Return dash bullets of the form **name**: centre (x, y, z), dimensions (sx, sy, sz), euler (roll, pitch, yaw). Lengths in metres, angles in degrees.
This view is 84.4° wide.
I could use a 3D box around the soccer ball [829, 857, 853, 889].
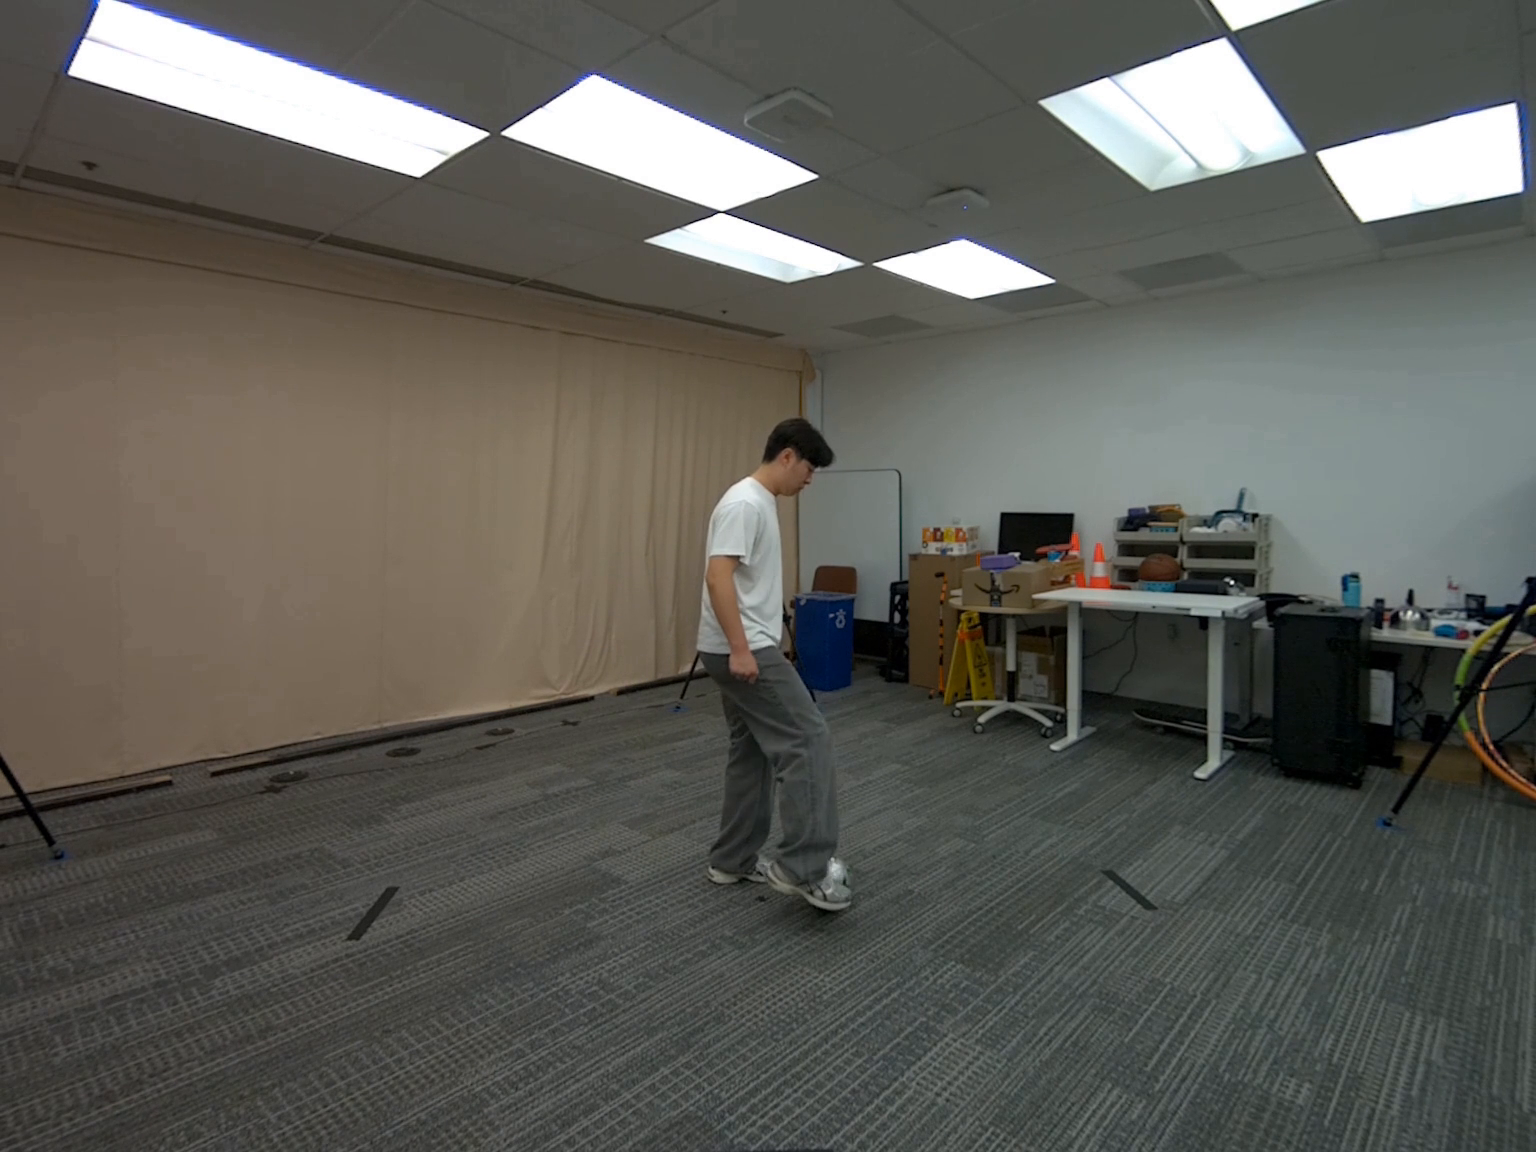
- **soccer ball**: centre (0.213, 1.060, 2.926), dimensions (0.187, 0.187, 0.188), euler (0, 4, -2)
